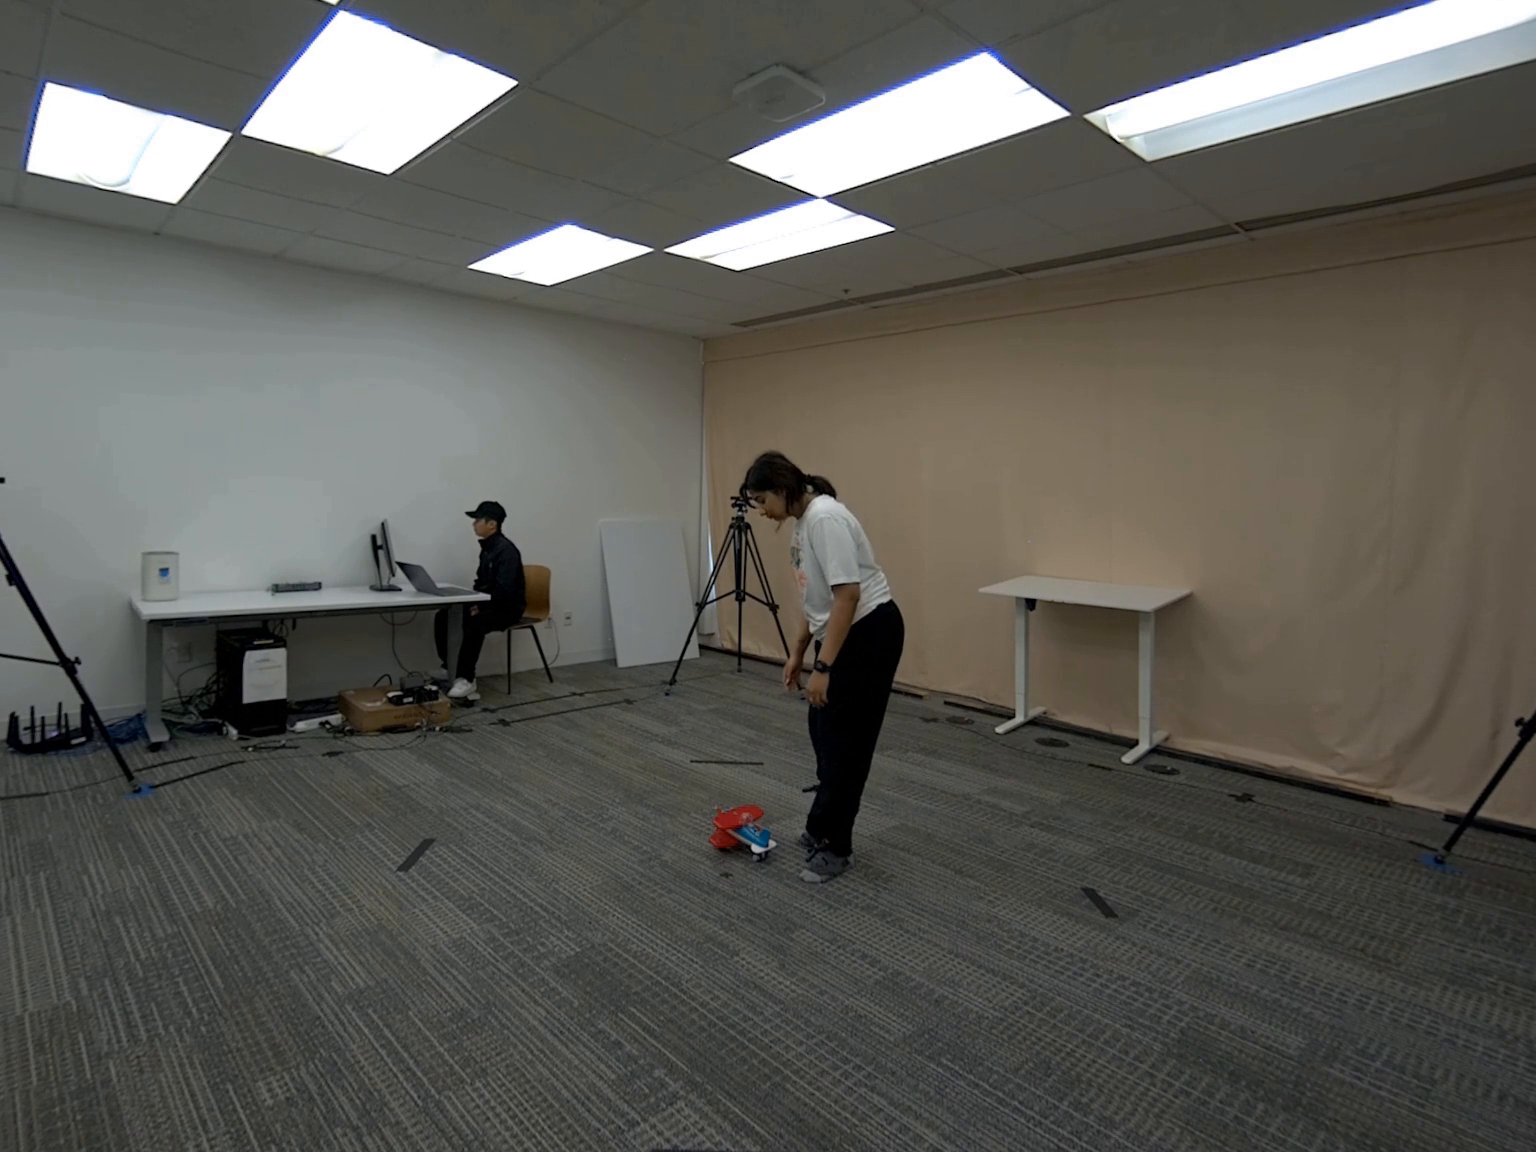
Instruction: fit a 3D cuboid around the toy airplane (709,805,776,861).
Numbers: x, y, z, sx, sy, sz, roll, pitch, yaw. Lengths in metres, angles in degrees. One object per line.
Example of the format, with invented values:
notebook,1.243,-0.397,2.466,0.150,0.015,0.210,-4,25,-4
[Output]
toy airplane,-0.089,1.006,3.317,0.262,0.156,0.249,2,3,14
